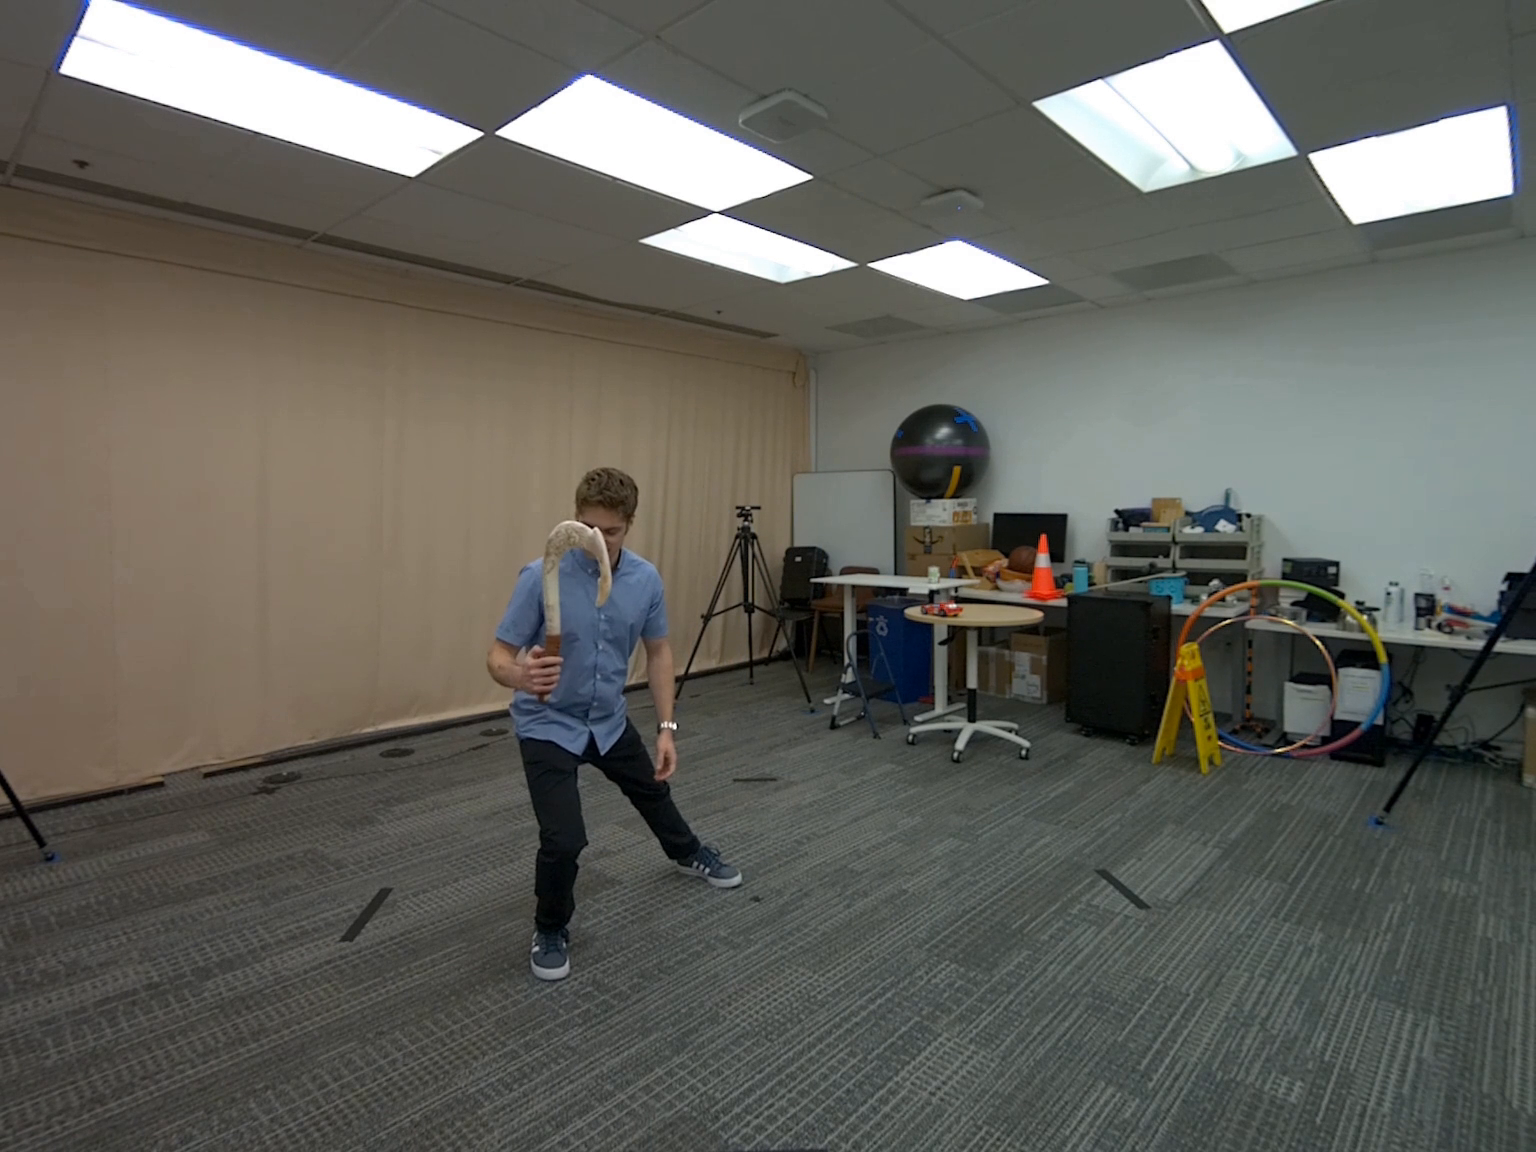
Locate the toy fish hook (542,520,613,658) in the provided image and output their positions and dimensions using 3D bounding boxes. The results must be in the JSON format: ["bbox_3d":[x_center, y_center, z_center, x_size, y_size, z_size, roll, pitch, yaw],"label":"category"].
[{"bbox_3d":[-0.523,0.104,2.195,0.232,0.504,0.047,21,16,31],"label":"toy fish hook"}]
